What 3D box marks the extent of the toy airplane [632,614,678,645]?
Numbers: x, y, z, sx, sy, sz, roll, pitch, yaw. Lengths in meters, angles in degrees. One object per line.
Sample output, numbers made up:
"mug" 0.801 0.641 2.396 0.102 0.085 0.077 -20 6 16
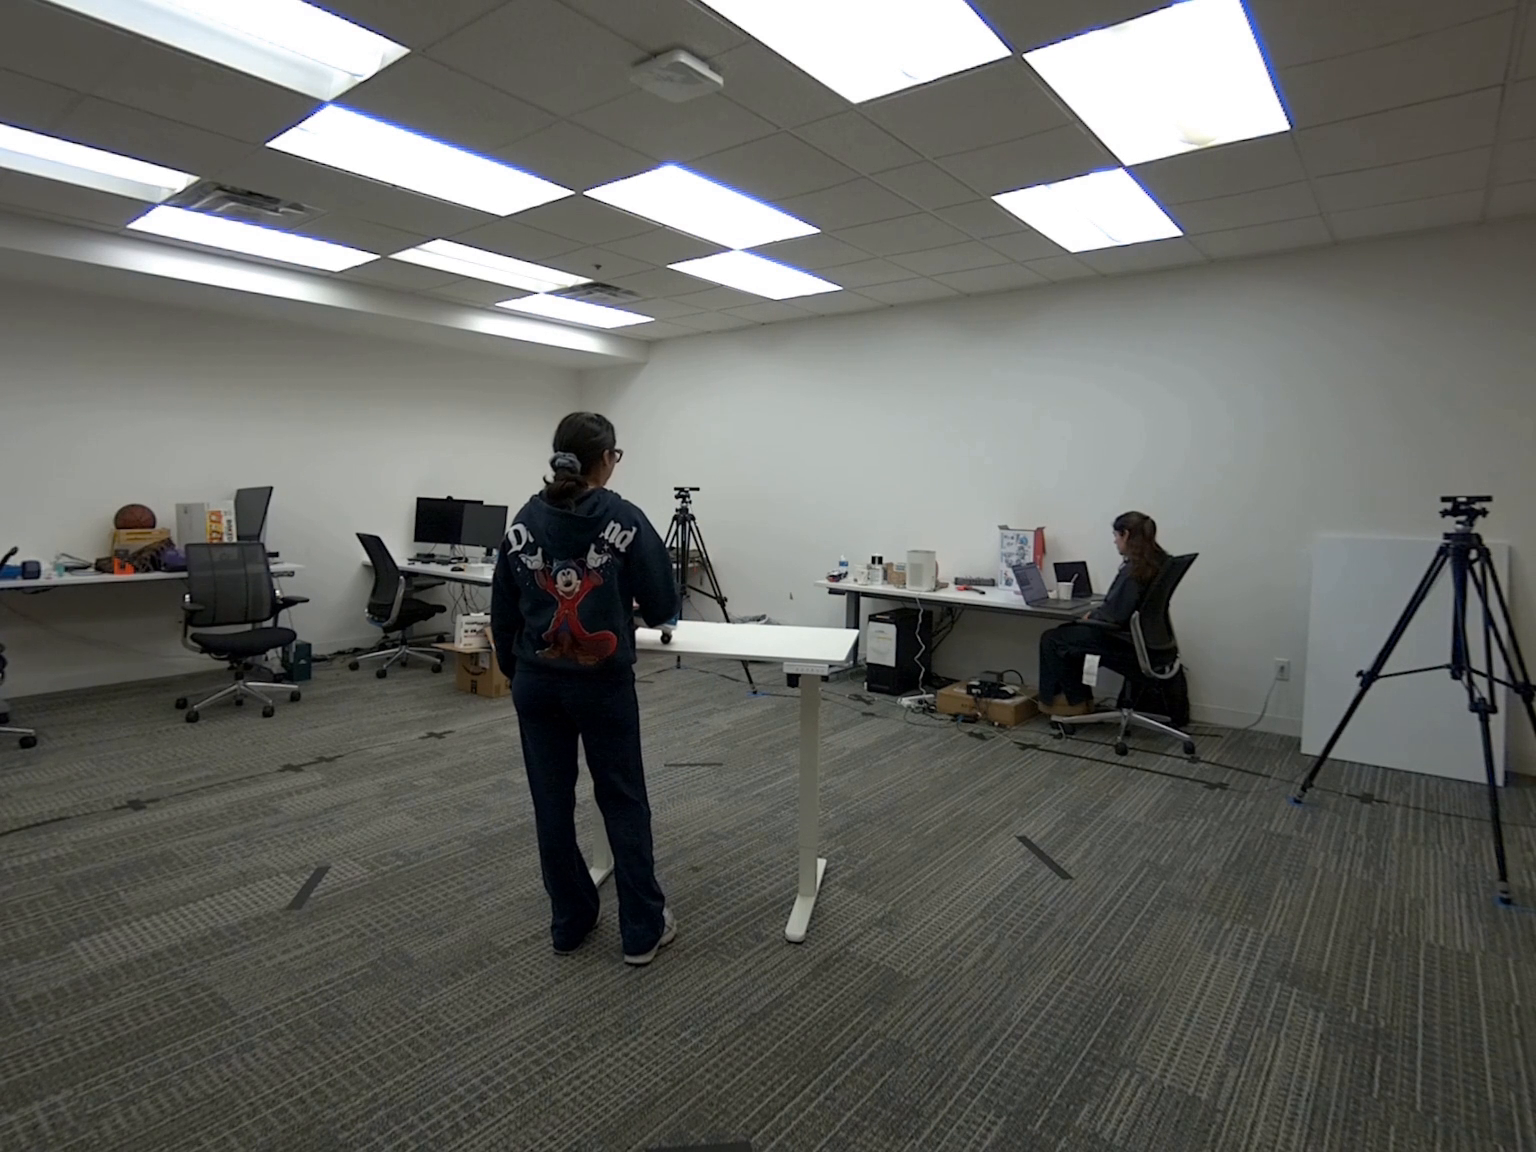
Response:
"toy airplane" -0.419 0.138 2.804 0.253 0.156 0.258 -2 5 -29
